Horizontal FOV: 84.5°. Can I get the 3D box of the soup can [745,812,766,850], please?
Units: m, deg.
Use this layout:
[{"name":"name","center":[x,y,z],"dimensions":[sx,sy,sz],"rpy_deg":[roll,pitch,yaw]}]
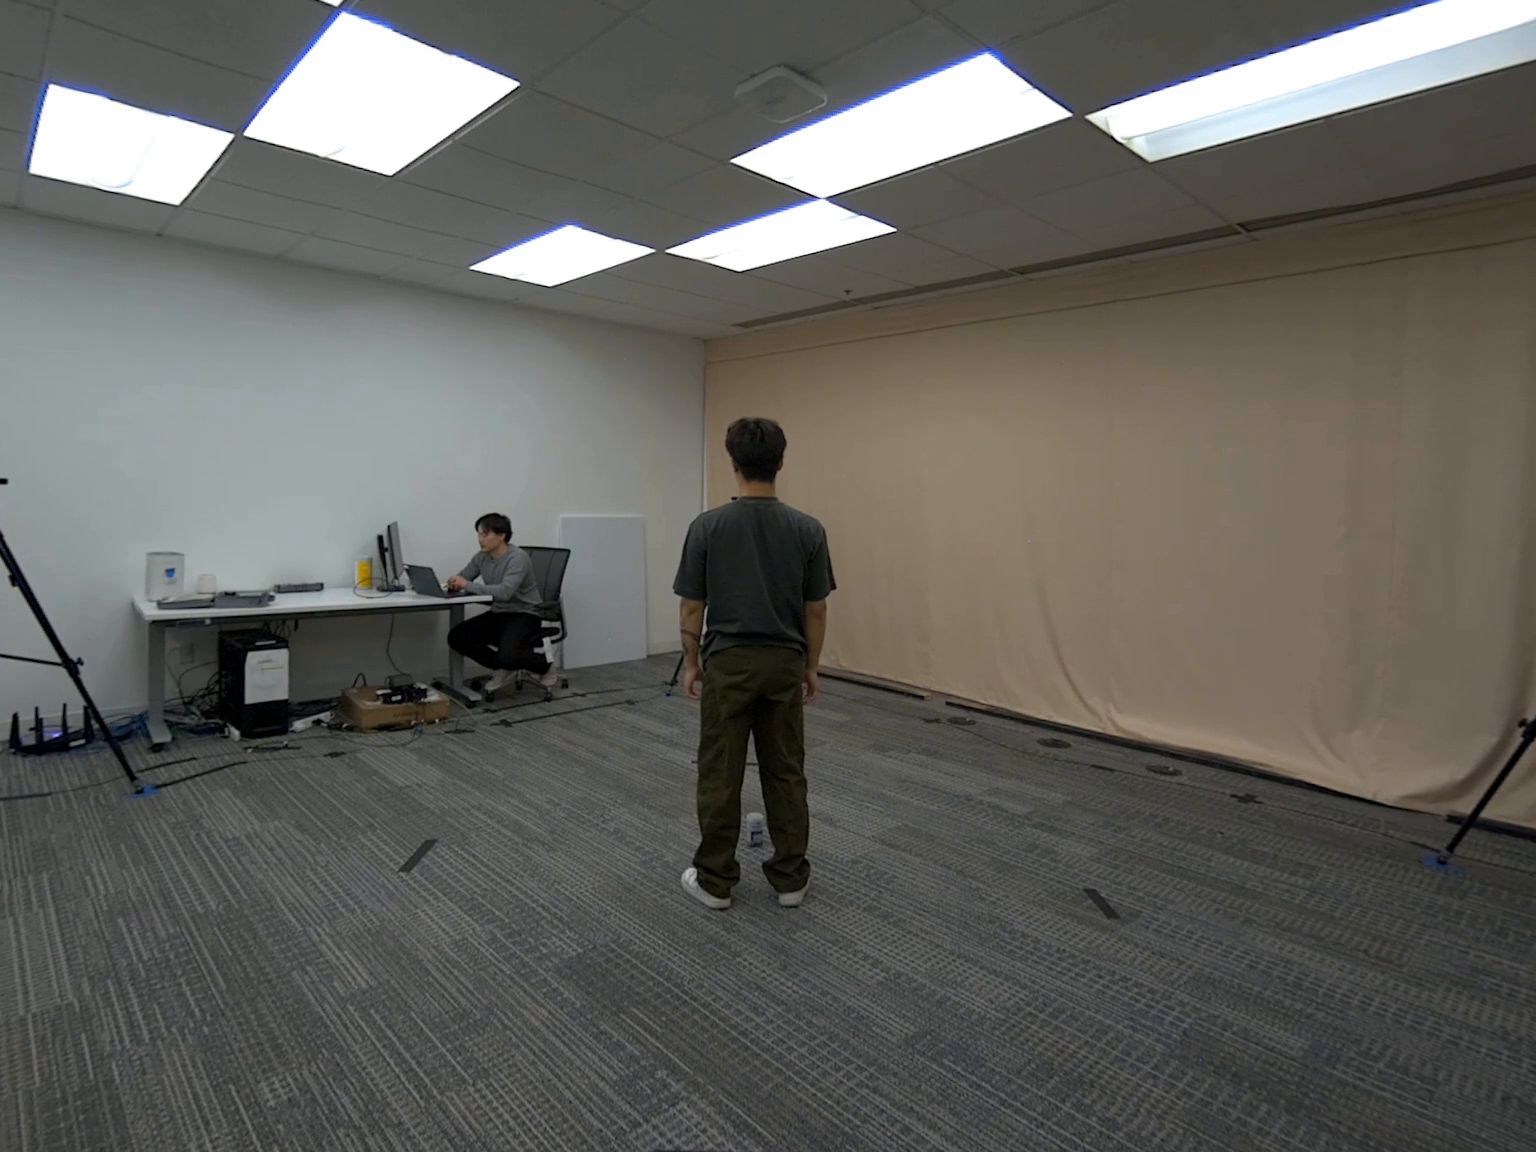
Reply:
[{"name":"soup can","center":[-0.063,1.022,3.387],"dimensions":[0.067,0.121,0.067],"rpy_deg":[0,4,-1]}]
